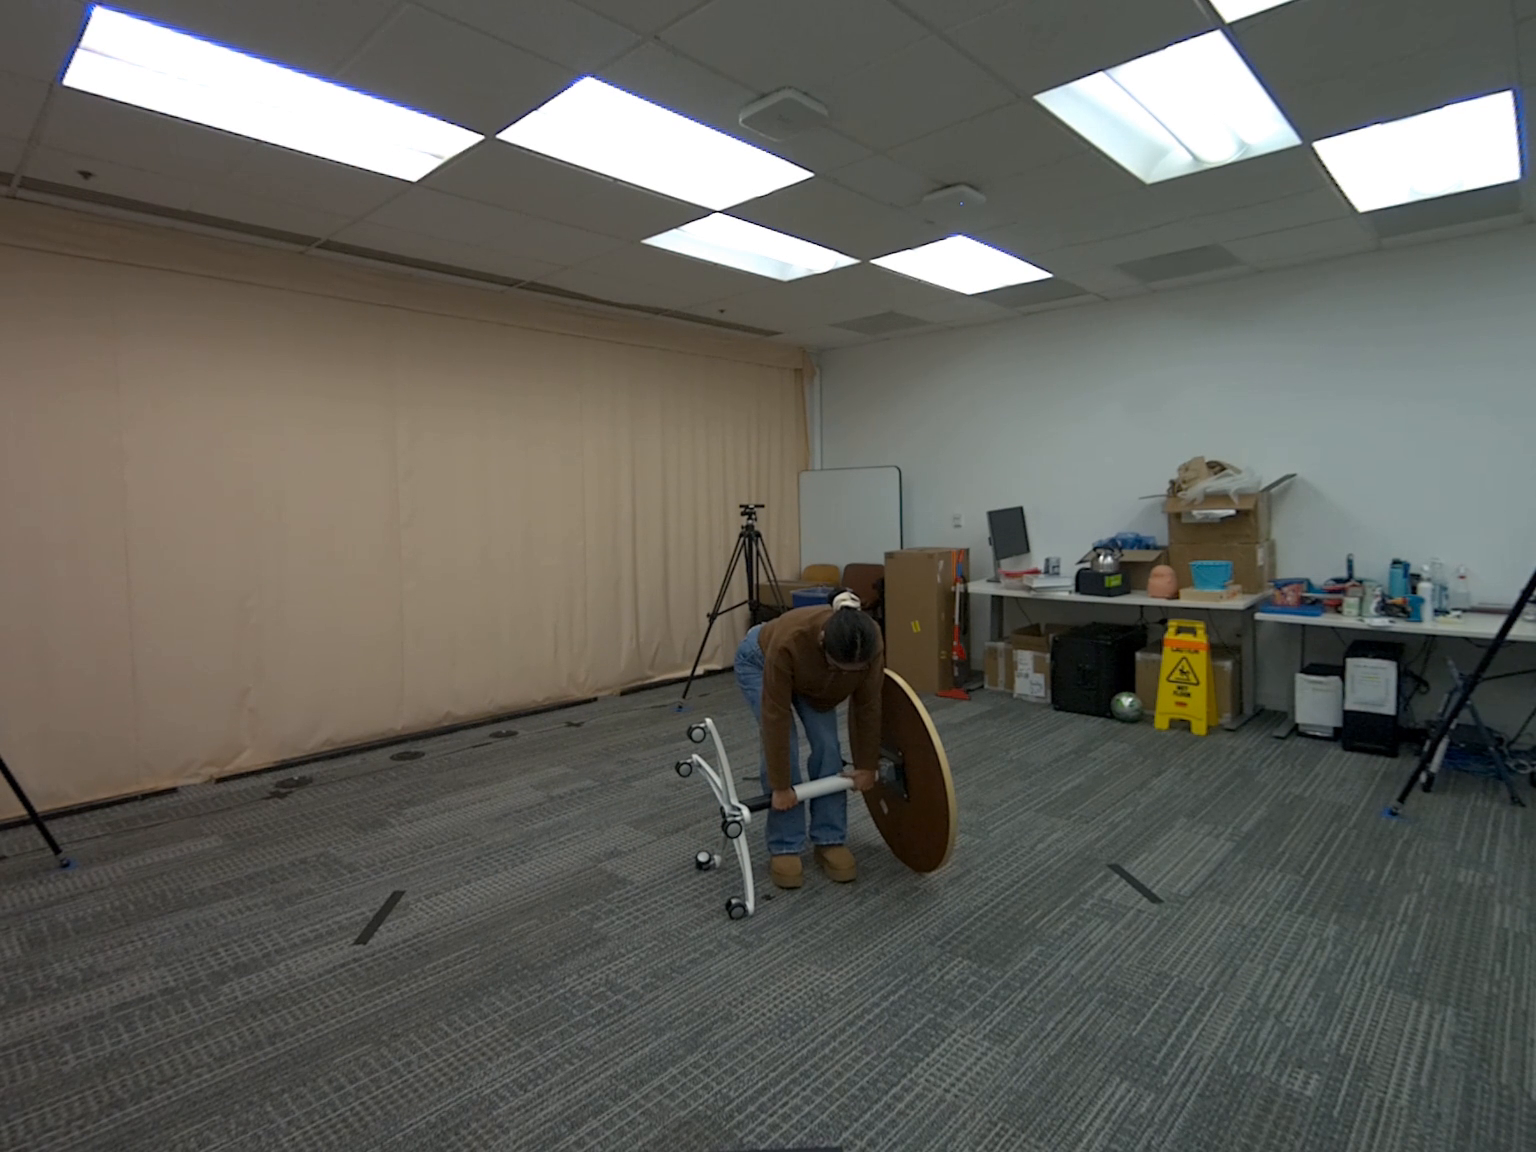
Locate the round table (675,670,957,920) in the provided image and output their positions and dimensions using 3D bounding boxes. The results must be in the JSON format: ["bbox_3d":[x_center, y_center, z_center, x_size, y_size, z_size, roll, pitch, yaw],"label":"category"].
[{"bbox_3d":[0.129,0.803,3.109,0.782,0.761,0.779,-10,6,-17],"label":"round table"}]
